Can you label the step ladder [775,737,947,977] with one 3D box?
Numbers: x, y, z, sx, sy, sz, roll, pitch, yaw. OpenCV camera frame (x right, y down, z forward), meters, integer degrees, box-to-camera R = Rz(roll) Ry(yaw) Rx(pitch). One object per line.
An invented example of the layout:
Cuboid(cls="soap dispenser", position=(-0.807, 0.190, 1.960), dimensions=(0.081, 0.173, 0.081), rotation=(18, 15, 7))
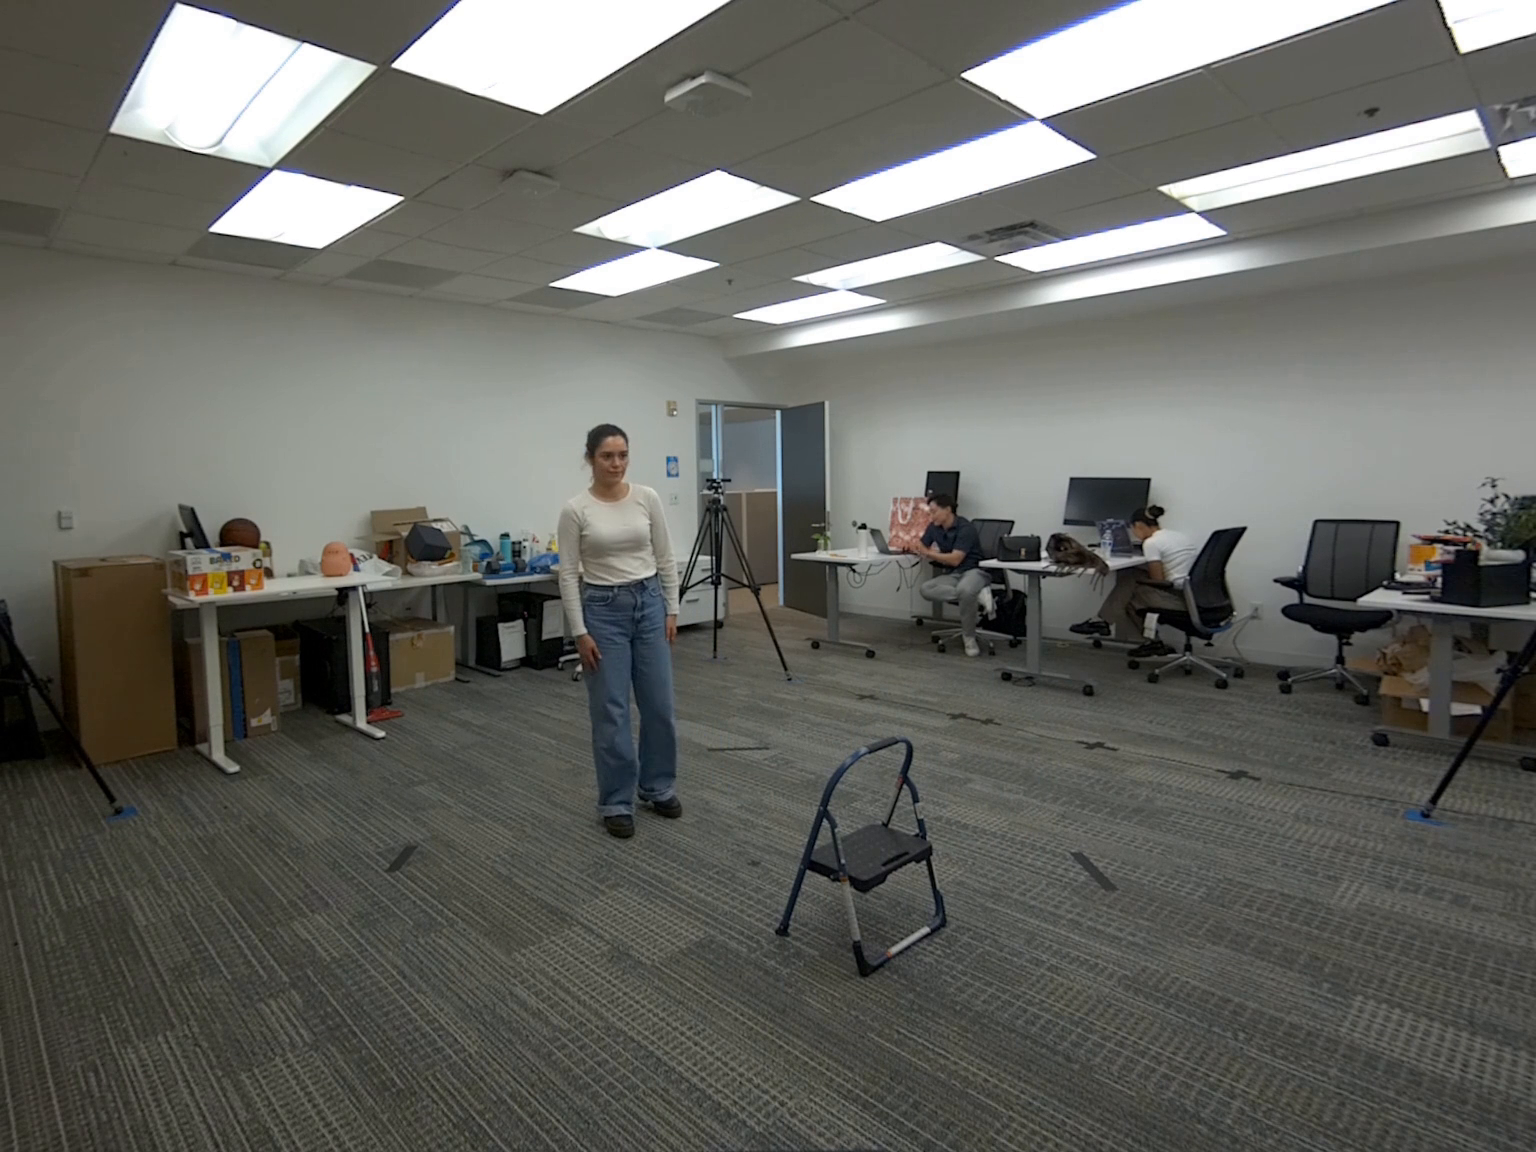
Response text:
Cuboid(cls="step ladder", position=(0.290, 0.792, 2.625), dimensions=(0.360, 0.604, 0.419), rotation=(3, 6, 45))
